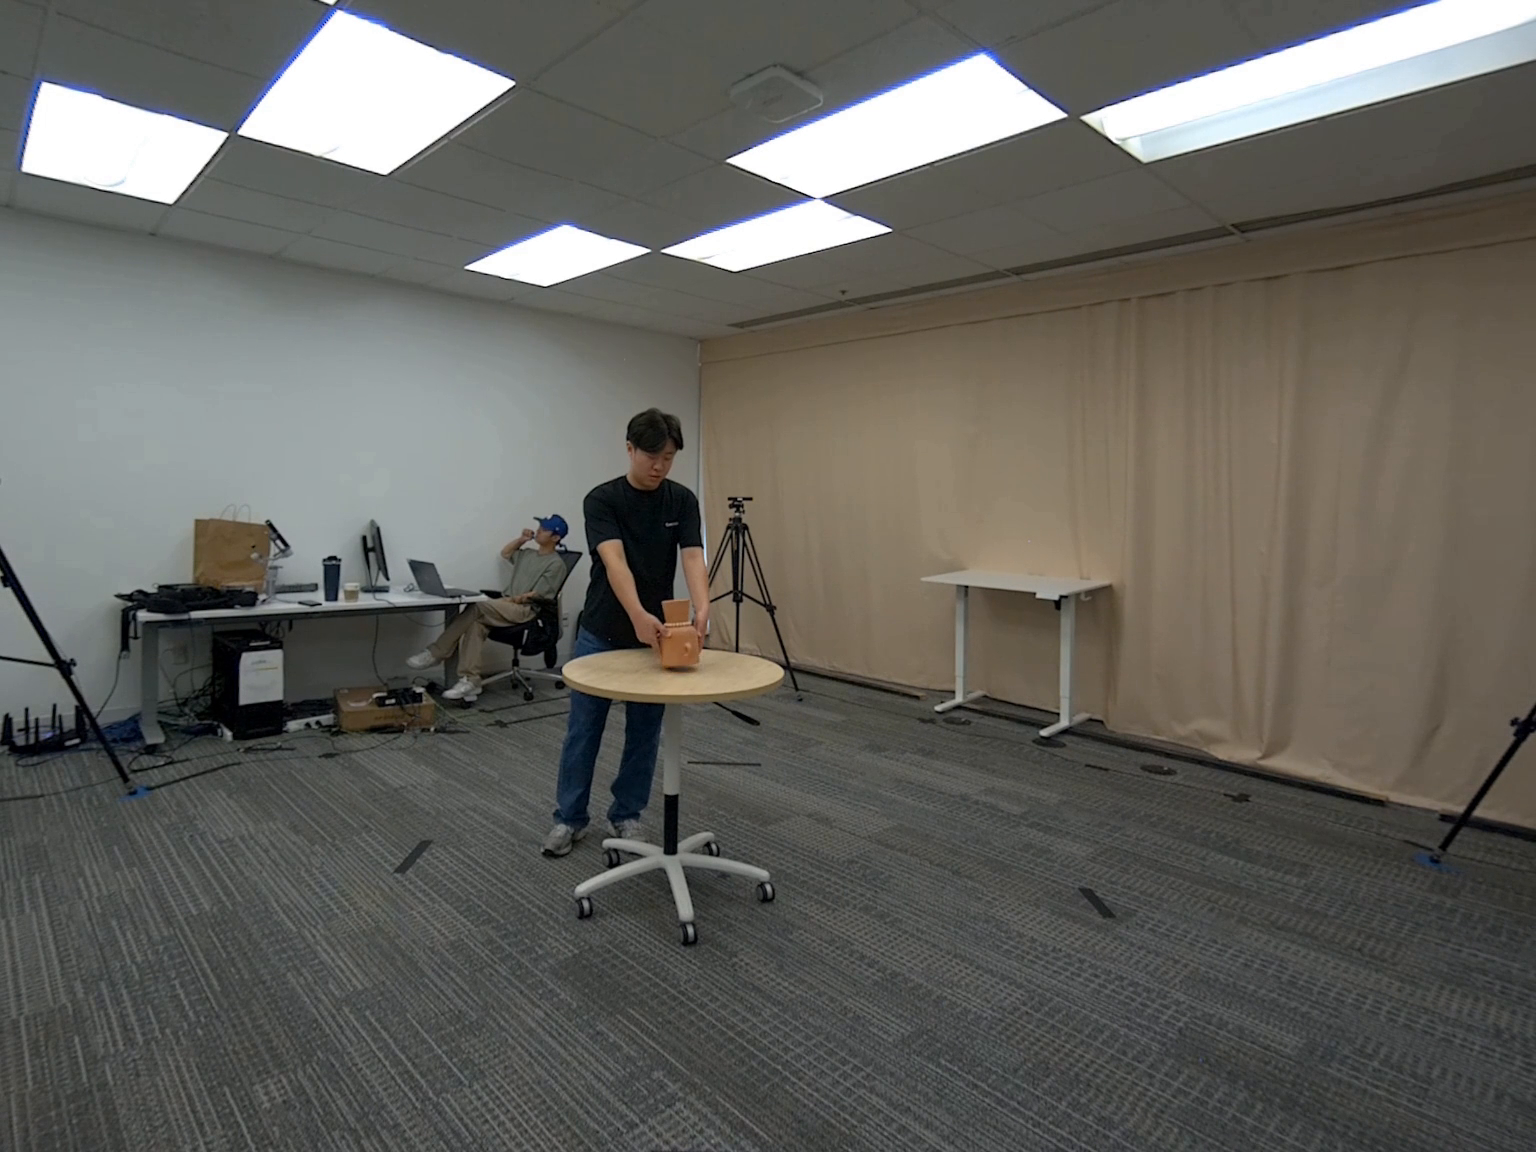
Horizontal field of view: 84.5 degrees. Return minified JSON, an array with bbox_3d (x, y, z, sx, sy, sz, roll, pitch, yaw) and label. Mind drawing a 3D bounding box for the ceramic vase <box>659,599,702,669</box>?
[{"bbox_3d":[-0.322,0.197,2.912,0.161,0.220,0.132,-8,-3,24],"label":"ceramic vase"}]
